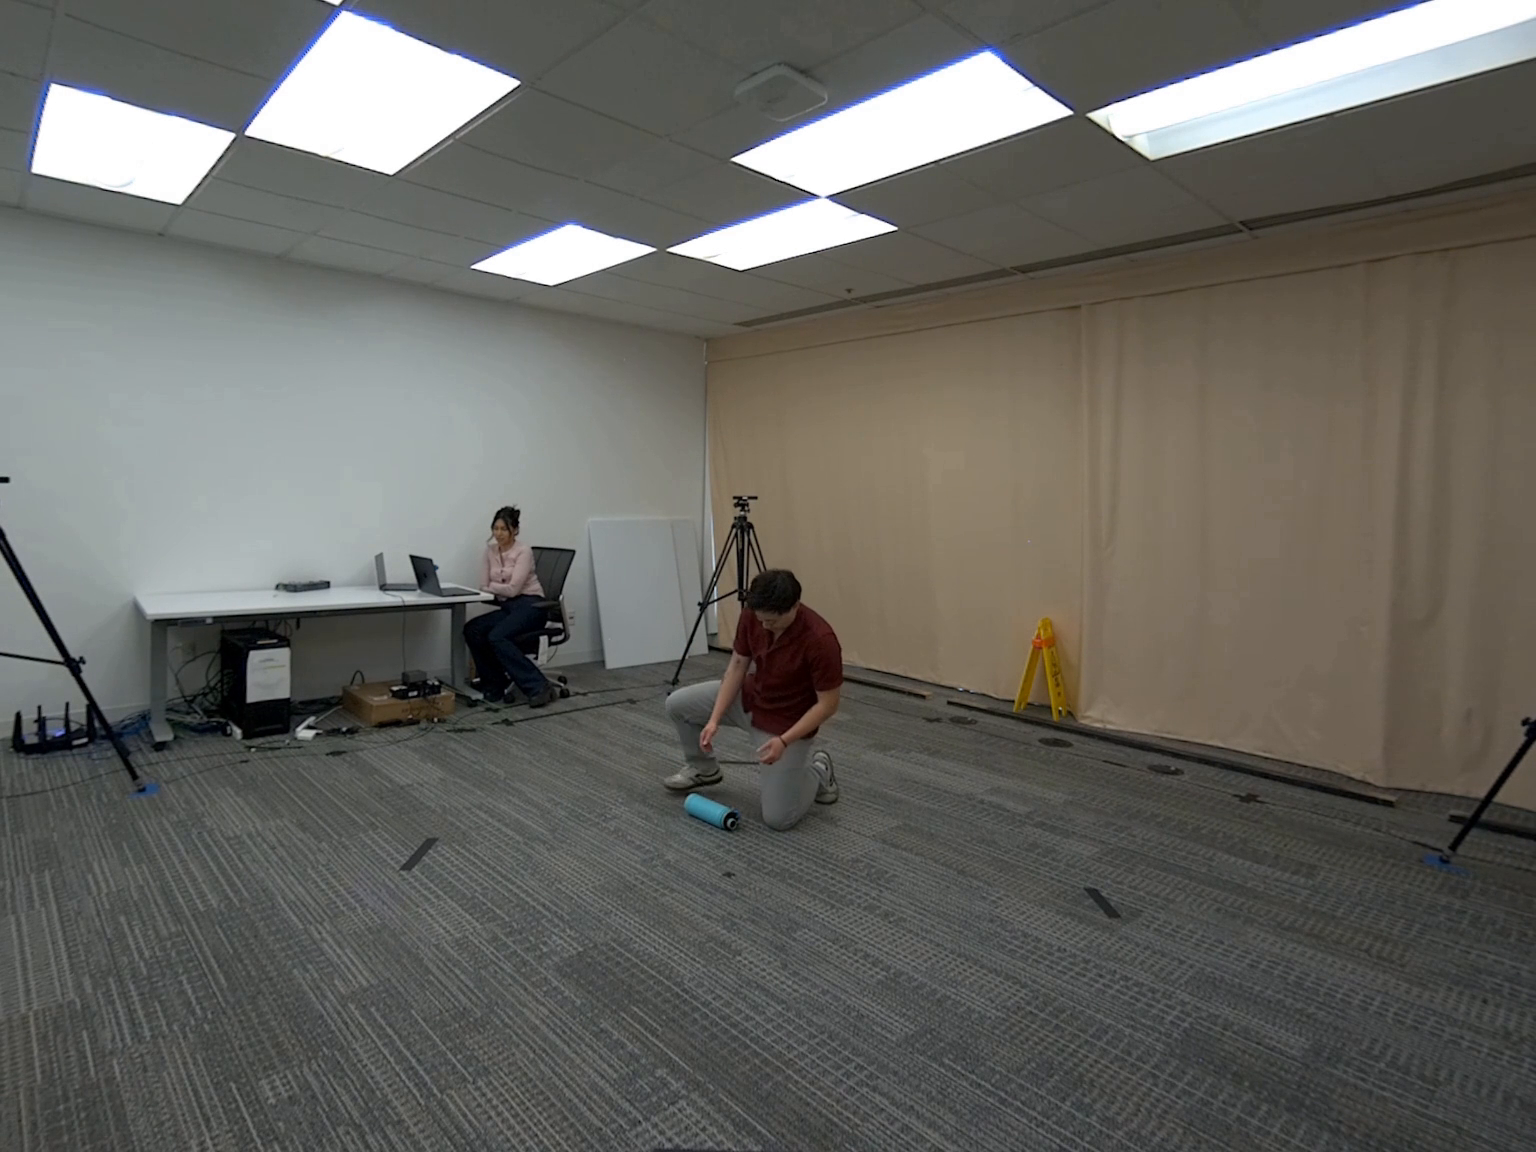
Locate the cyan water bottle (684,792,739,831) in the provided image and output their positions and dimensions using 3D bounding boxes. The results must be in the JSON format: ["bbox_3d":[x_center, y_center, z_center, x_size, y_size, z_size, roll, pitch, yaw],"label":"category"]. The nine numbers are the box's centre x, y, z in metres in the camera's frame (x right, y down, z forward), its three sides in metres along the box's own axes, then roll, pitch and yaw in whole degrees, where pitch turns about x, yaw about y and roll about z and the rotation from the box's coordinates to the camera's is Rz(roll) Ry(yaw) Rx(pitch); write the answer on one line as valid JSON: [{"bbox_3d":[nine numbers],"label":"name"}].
[{"bbox_3d":[-0.244,1.012,3.598,0.291,0.092,0.090,6,6,45],"label":"cyan water bottle"}]
